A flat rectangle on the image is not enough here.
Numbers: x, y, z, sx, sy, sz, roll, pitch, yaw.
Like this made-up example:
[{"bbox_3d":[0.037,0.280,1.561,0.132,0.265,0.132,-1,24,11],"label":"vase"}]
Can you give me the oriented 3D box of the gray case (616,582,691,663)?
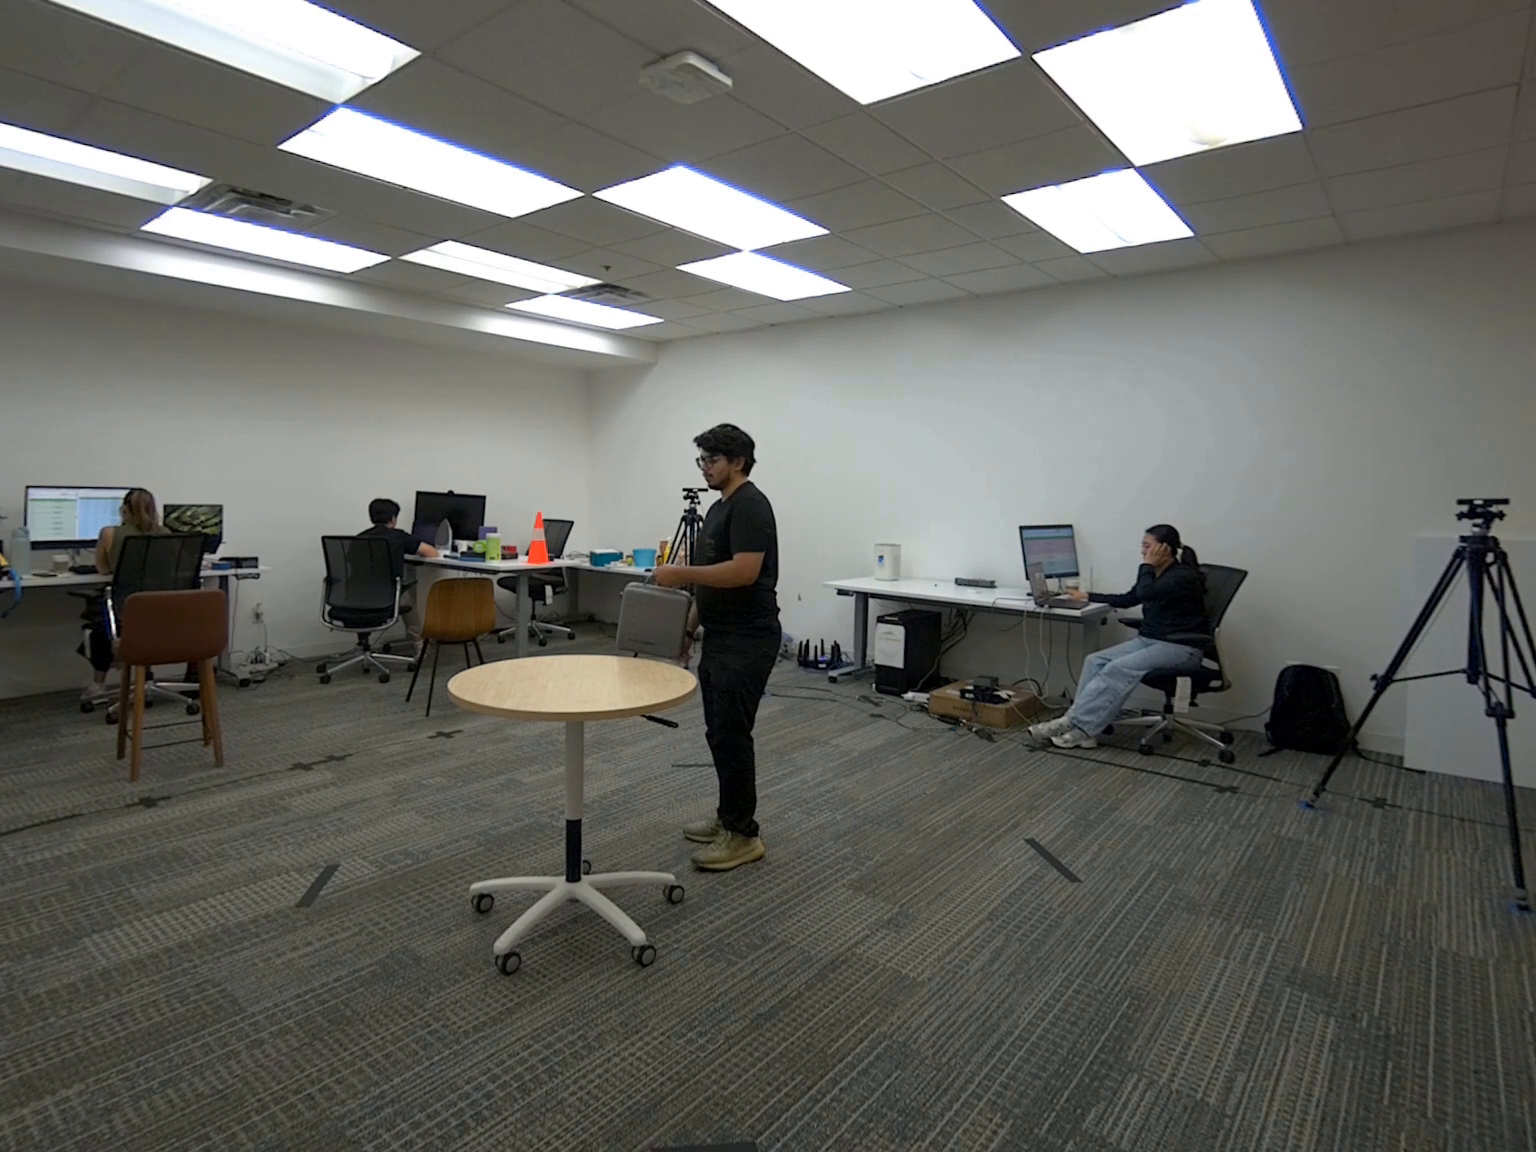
[{"bbox_3d":[-0.443,0.159,3.196,0.259,0.259,0.104,12,9,6],"label":"gray case"}]
